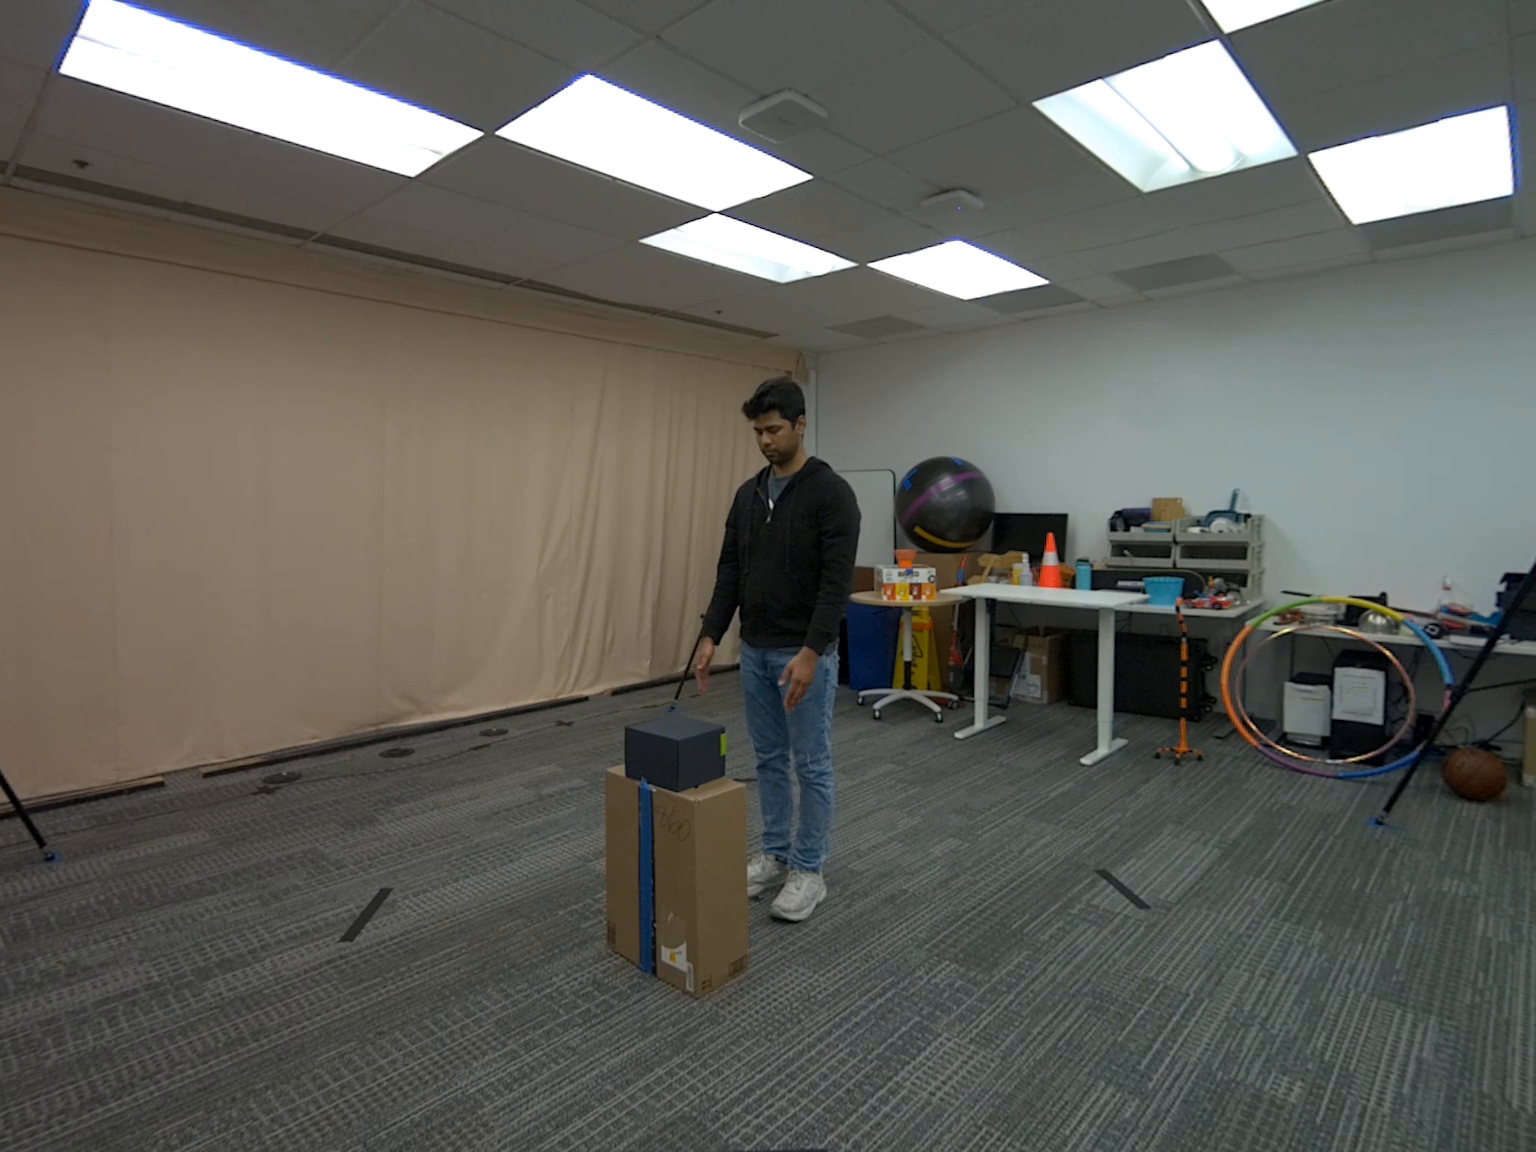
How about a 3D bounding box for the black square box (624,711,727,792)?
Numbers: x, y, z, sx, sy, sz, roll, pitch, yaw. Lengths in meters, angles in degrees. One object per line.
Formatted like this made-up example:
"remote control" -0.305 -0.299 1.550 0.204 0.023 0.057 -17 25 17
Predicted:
"black square box" -0.277 0.534 2.573 0.235 0.155 0.210 3 4 39
